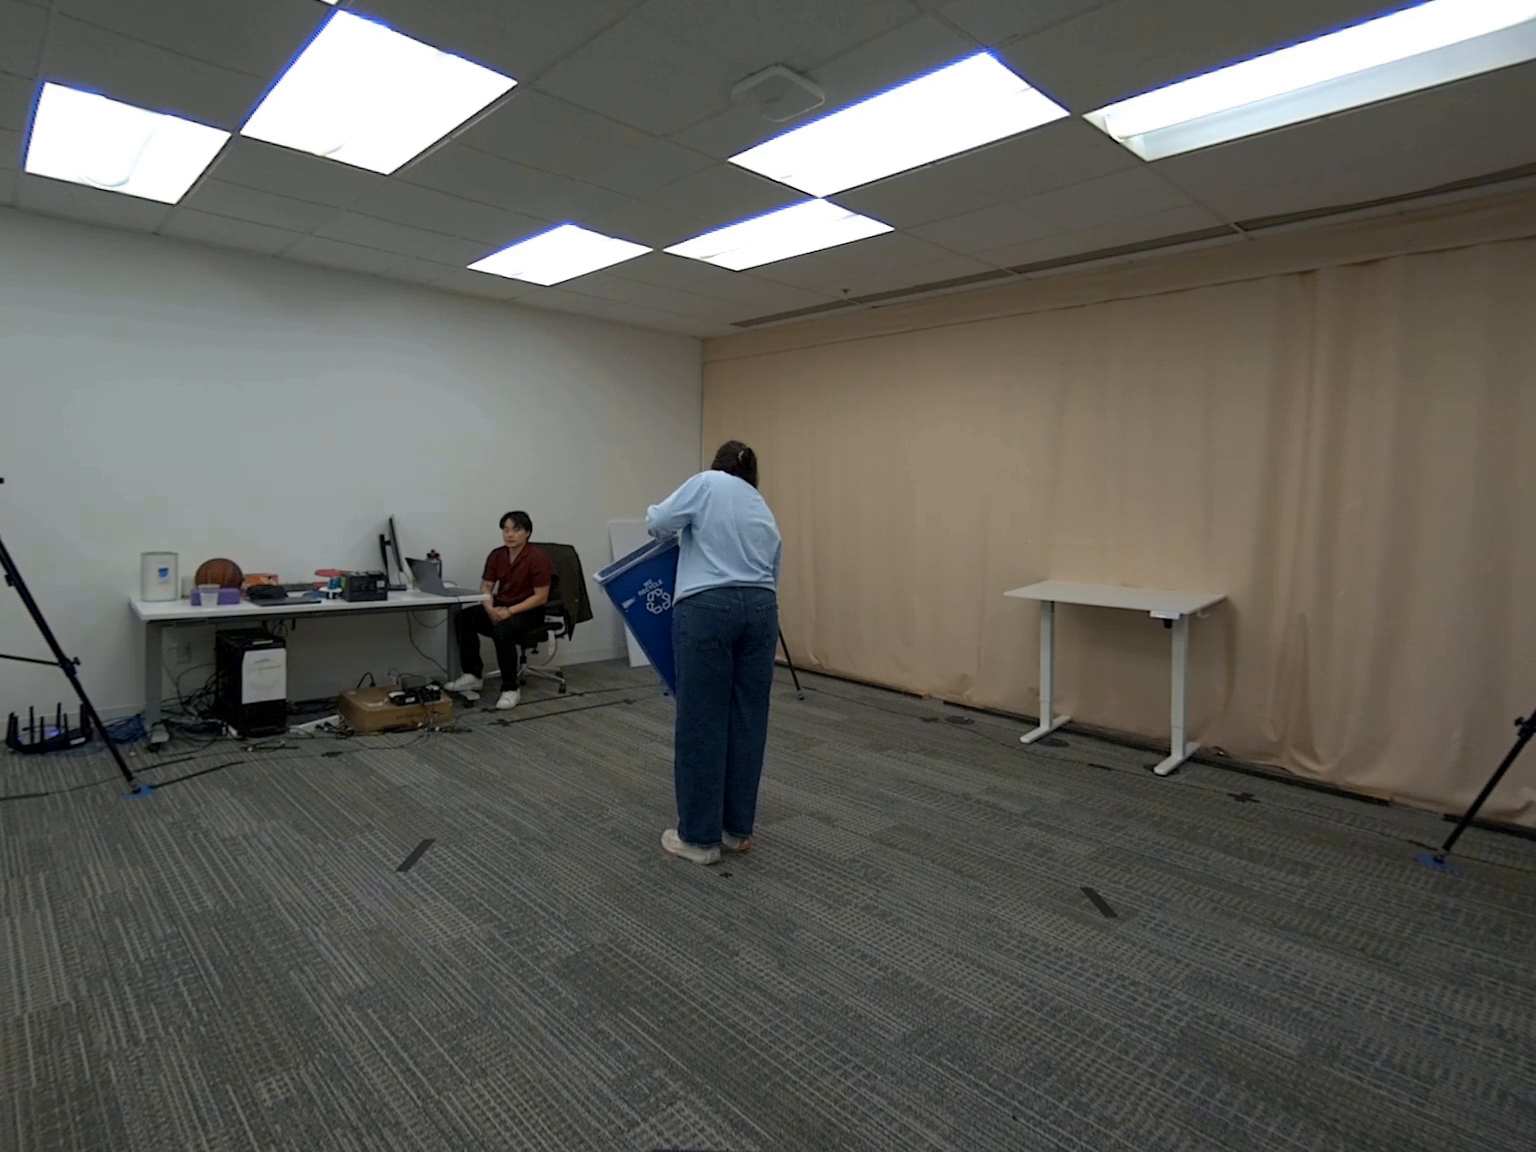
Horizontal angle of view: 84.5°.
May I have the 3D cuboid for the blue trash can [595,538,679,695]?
[{"bbox_3d":[-0.383,0.215,3.562,0.373,0.706,0.383,-30,10,-8],"label":"blue trash can"}]
